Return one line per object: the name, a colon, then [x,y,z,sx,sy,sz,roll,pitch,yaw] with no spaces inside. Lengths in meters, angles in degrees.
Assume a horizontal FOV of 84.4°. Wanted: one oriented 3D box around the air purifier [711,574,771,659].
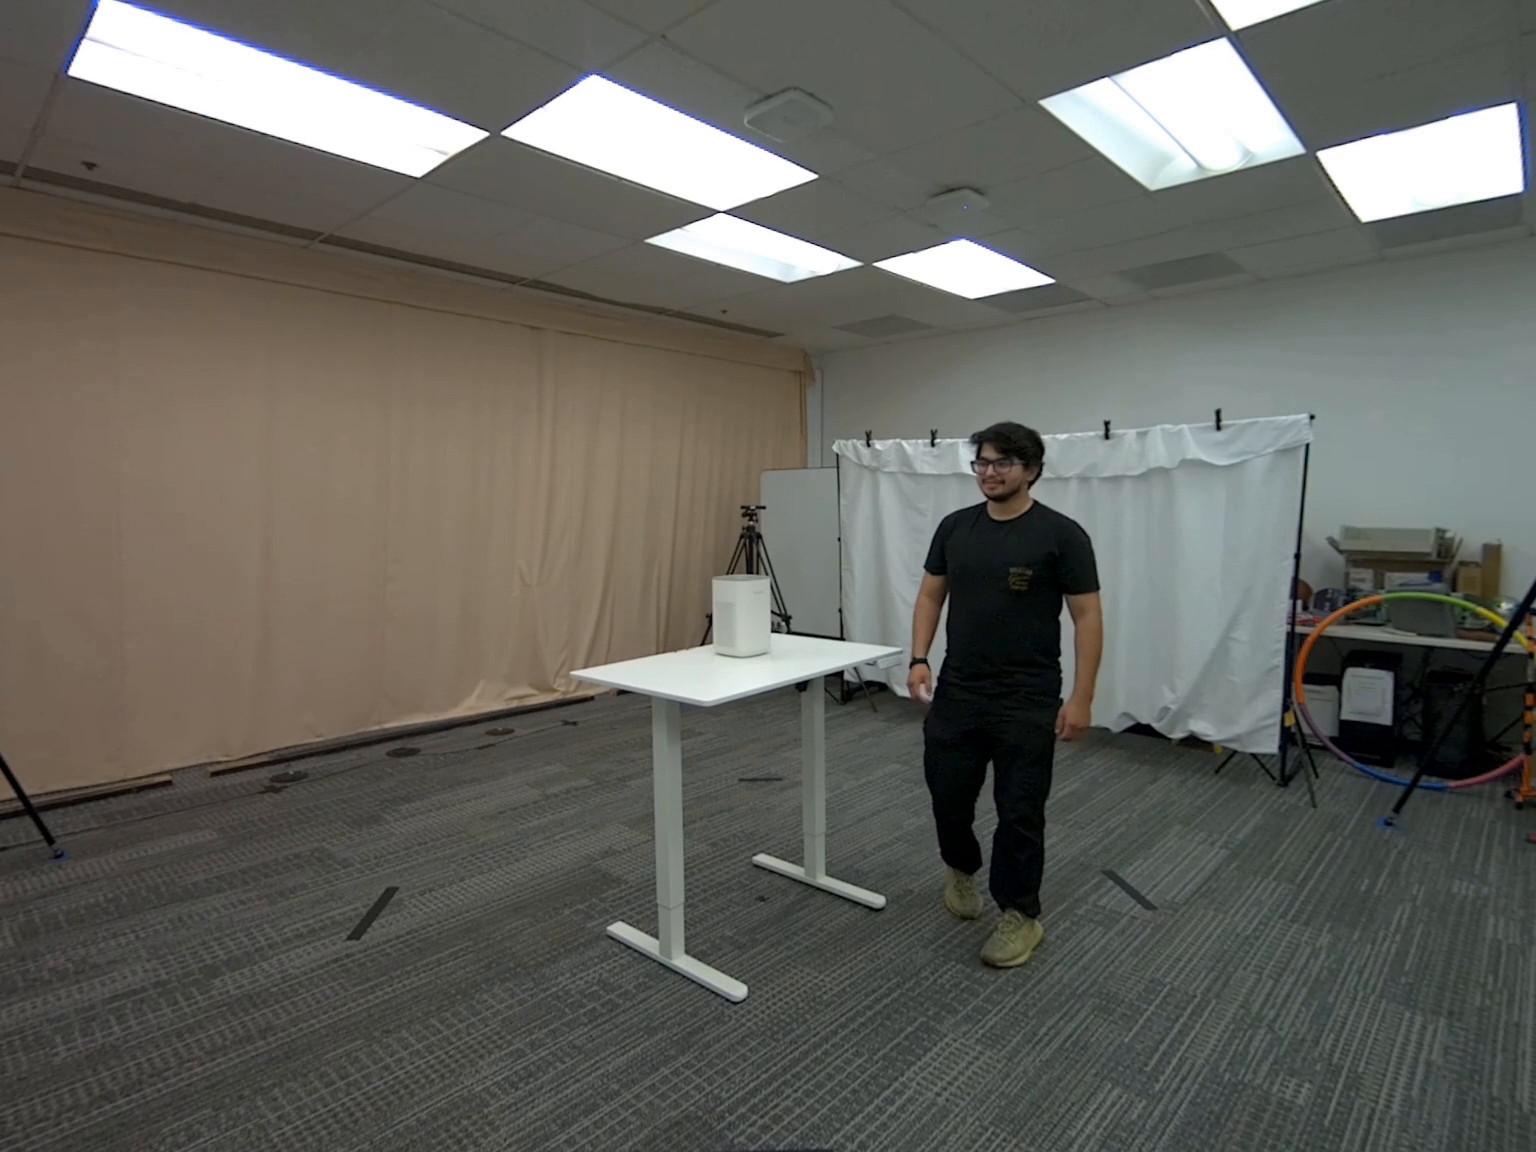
air purifier: [-0.088,0.136,2.890,0.177,0.264,0.166,3,6,44]
